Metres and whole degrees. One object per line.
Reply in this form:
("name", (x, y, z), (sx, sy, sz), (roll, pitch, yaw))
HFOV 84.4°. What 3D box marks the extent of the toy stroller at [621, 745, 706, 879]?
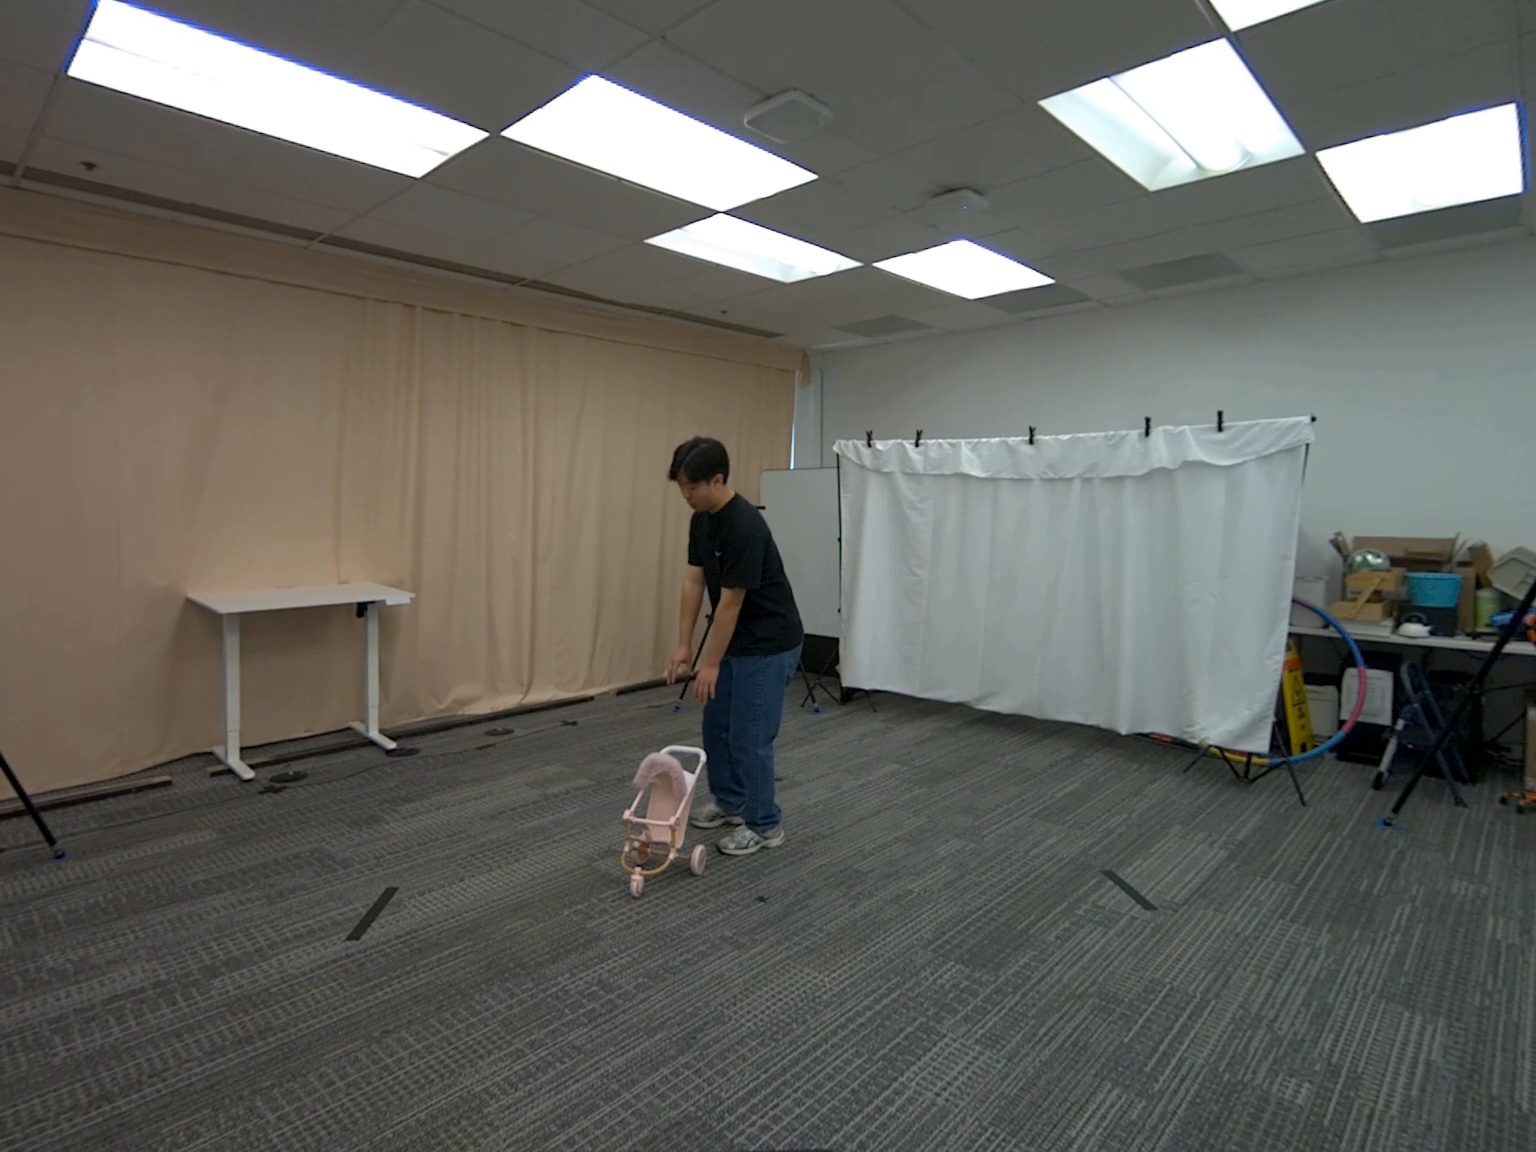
("toy stroller", (-0.406, 0.908, 3.167), (0.289, 0.538, 0.330), (0, -13, 26))
